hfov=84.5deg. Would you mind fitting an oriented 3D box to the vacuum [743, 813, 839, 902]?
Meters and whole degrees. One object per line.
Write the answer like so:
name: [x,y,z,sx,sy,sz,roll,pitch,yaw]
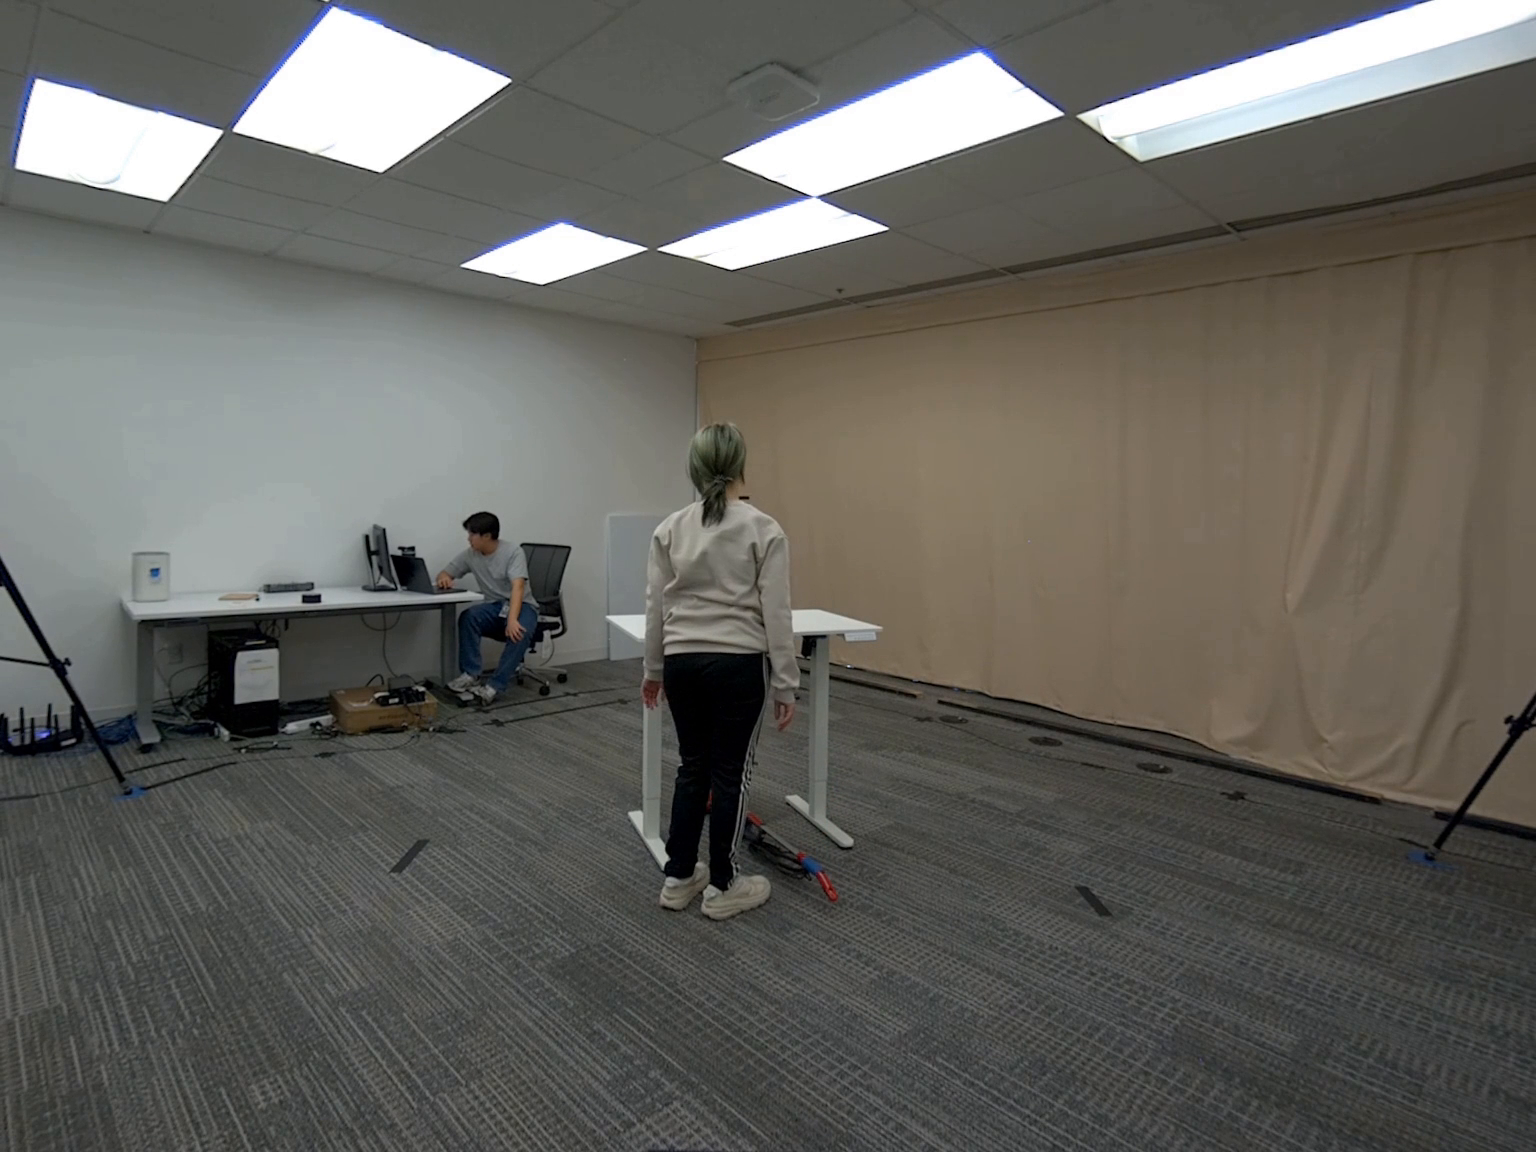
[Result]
vacuum: [-0.023,1.029,3.295,0.248,0.143,1.072,1,6,-27]
